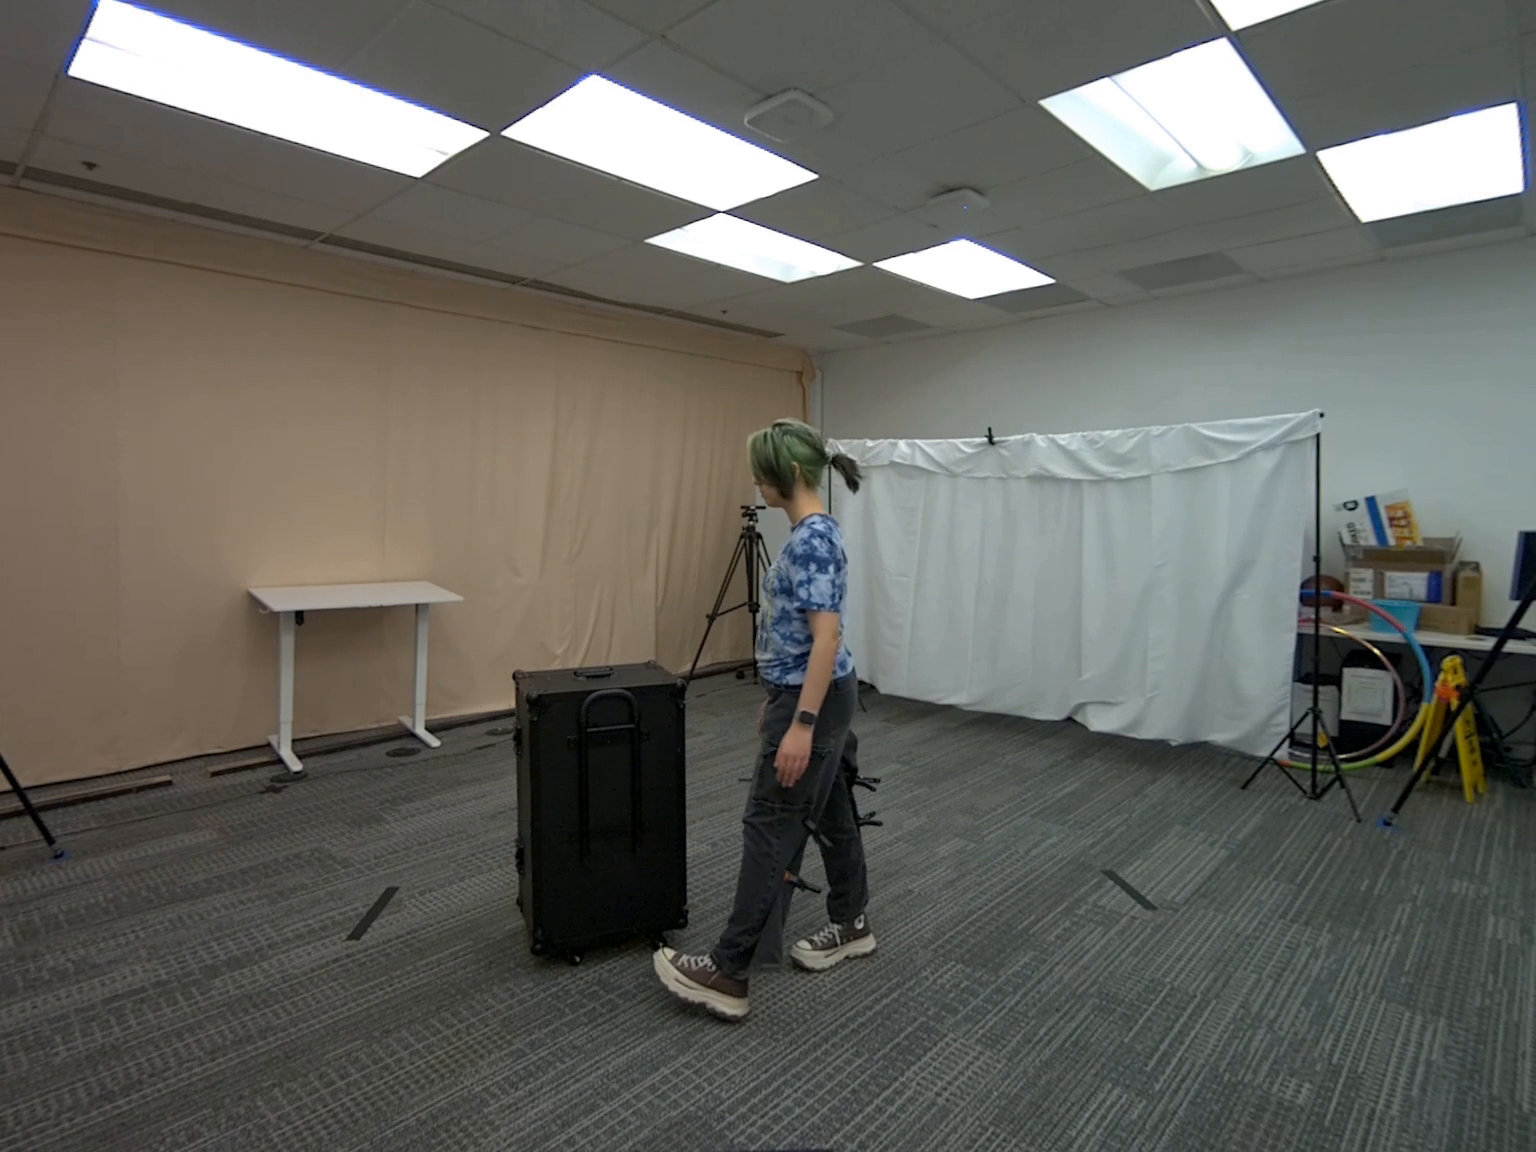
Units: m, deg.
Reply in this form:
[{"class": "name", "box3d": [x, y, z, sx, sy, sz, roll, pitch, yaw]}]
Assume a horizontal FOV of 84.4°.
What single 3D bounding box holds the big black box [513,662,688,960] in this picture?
[{"class": "big black box", "box3d": [-0.537, 0.750, 2.703, 0.510, 0.859, 0.406, -2, 4, -22]}]
